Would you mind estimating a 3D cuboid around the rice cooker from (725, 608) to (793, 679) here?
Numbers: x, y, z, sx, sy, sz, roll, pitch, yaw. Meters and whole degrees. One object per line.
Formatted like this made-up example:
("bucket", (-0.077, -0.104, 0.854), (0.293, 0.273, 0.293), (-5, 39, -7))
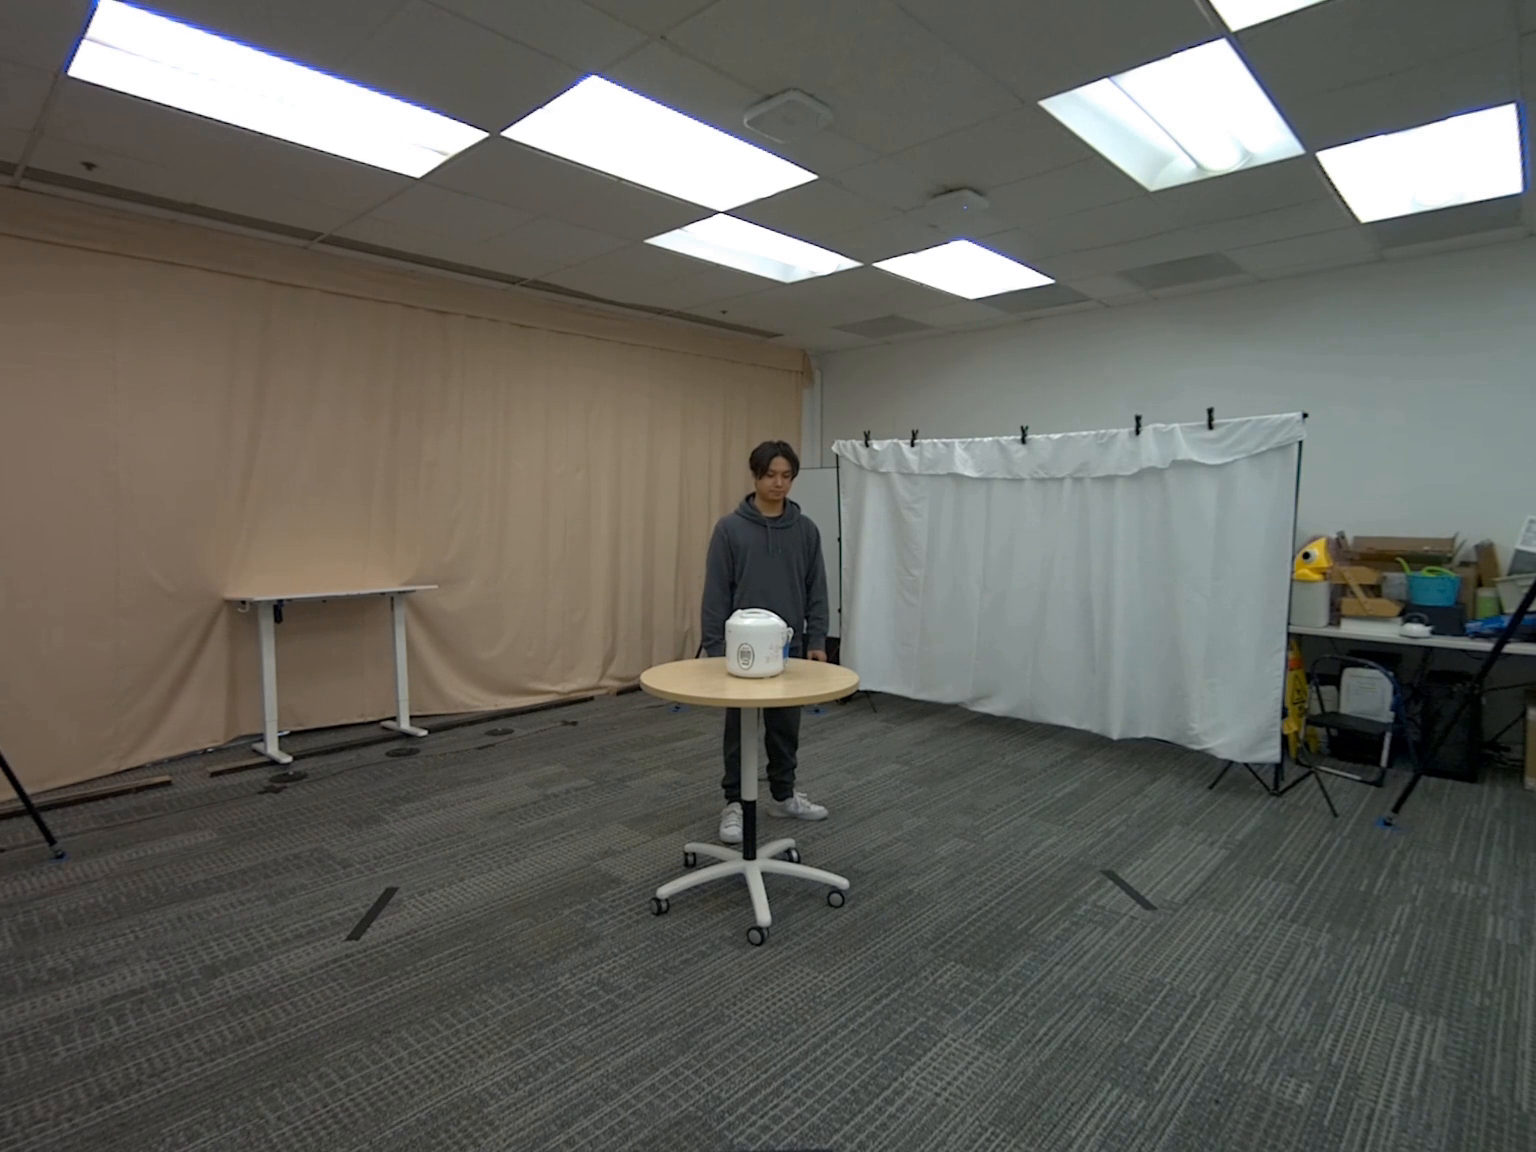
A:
("rice cooker", (-0.042, 0.230, 2.975), (0.225, 0.232, 0.213), (1, 2, 19))
